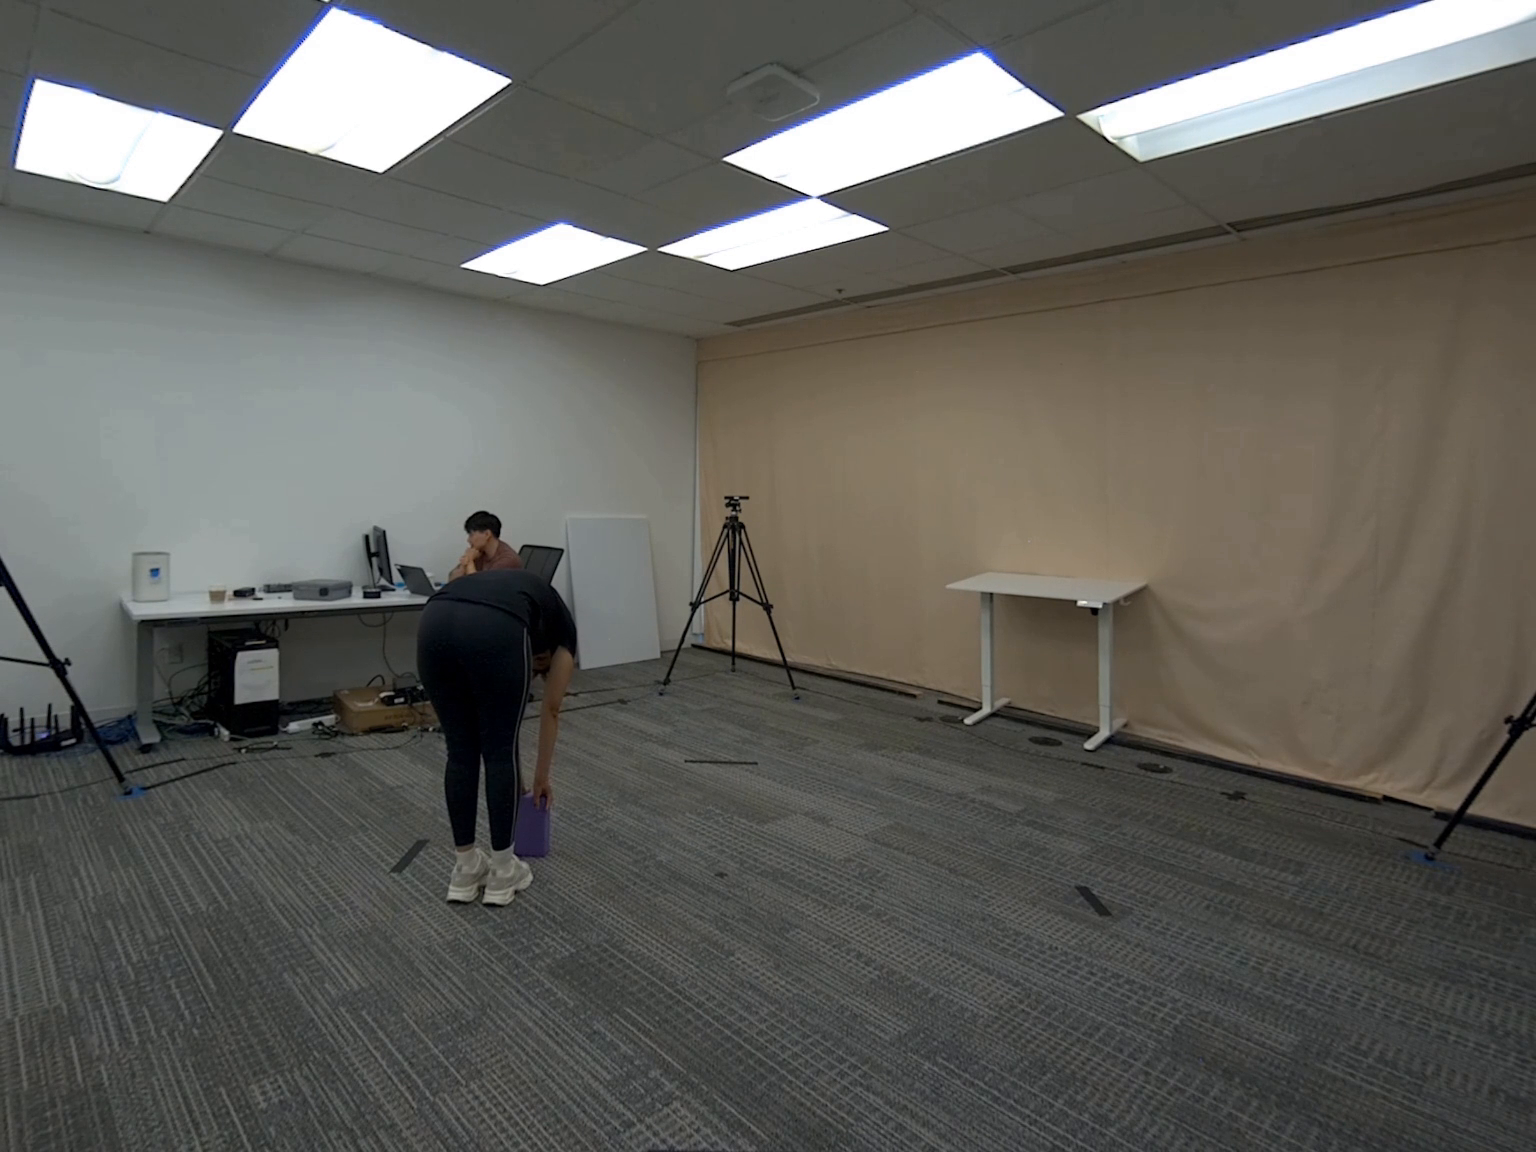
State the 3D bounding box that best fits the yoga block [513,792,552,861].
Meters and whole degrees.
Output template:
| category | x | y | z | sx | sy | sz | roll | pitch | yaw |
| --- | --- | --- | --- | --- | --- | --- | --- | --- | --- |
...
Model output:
| category | x | y | z | sx | sy | sz | roll | pitch | yaw |
| --- | --- | --- | --- | --- | --- | --- | --- | --- | --- |
| yoga block | -0.929 | 0.966 | 3.255 | 0.149 | 0.229 | 0.076 | 4 | 3 | 3 |
